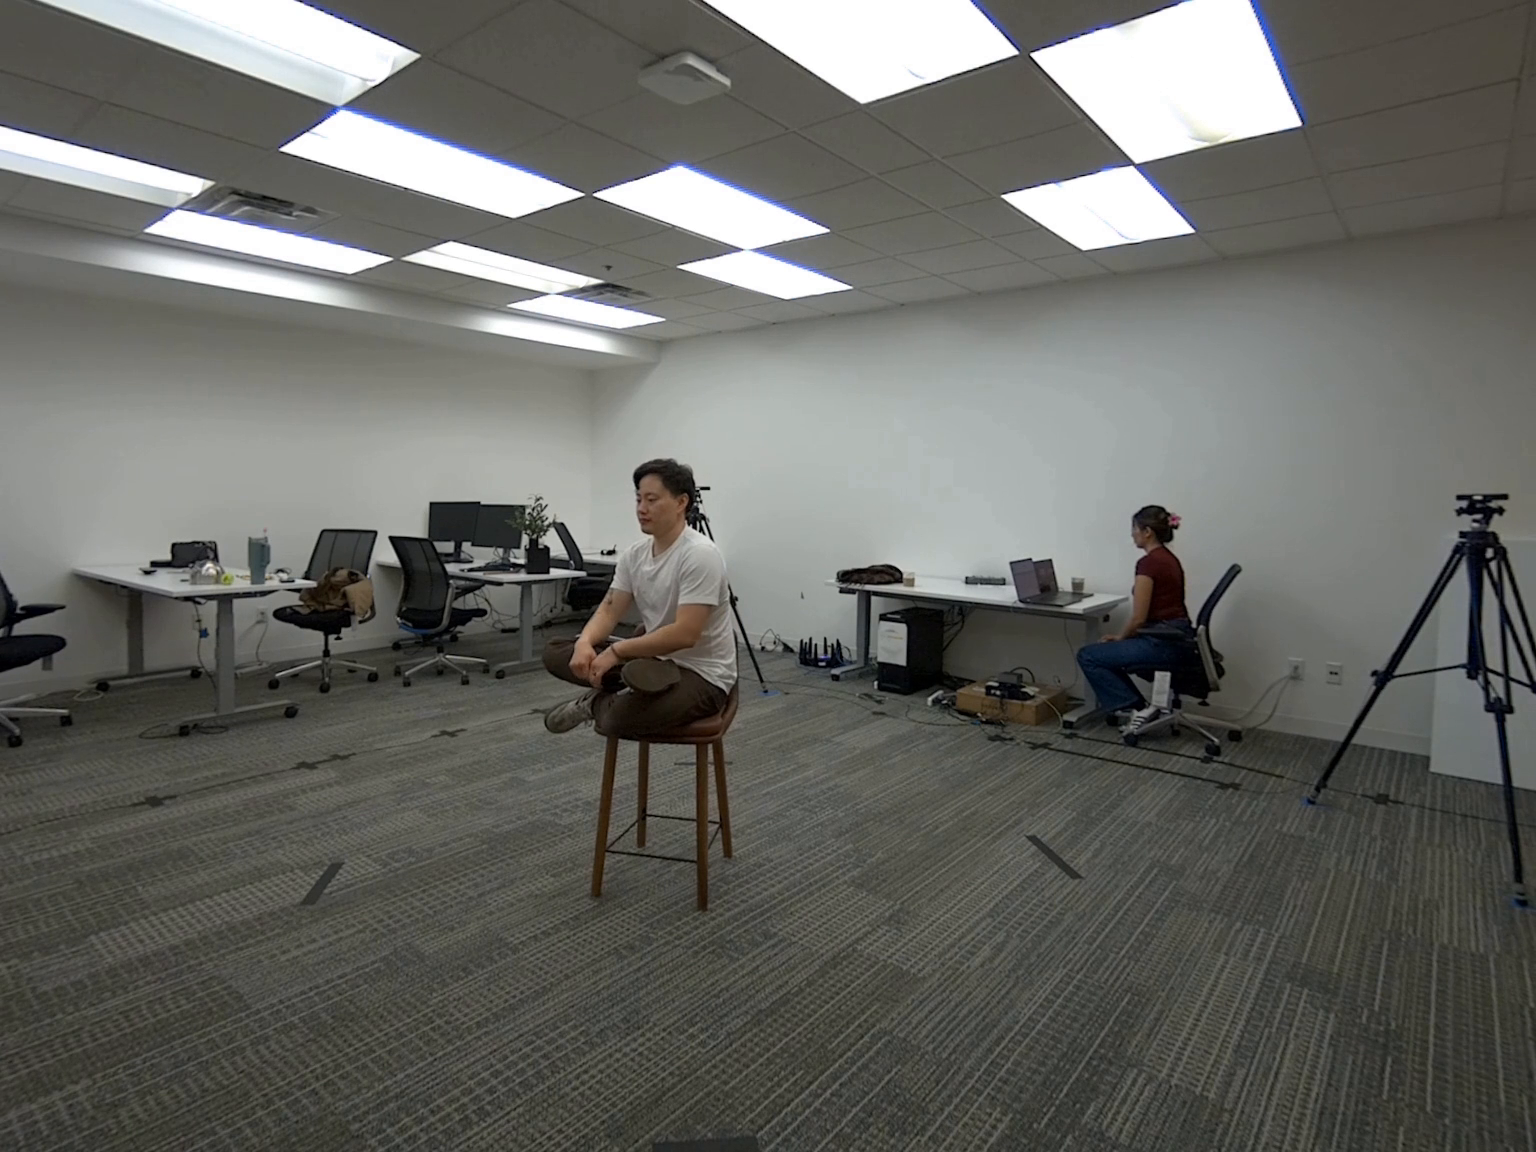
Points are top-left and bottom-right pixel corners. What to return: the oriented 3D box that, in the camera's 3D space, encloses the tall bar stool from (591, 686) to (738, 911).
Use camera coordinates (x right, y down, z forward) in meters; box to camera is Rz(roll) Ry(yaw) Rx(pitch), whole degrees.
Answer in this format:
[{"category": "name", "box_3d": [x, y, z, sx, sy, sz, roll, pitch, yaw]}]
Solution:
[{"category": "tall bar stool", "box_3d": [-0.362, 0.640, 3.042, 0.464, 0.889, 0.460, 2, 1, 14]}]
